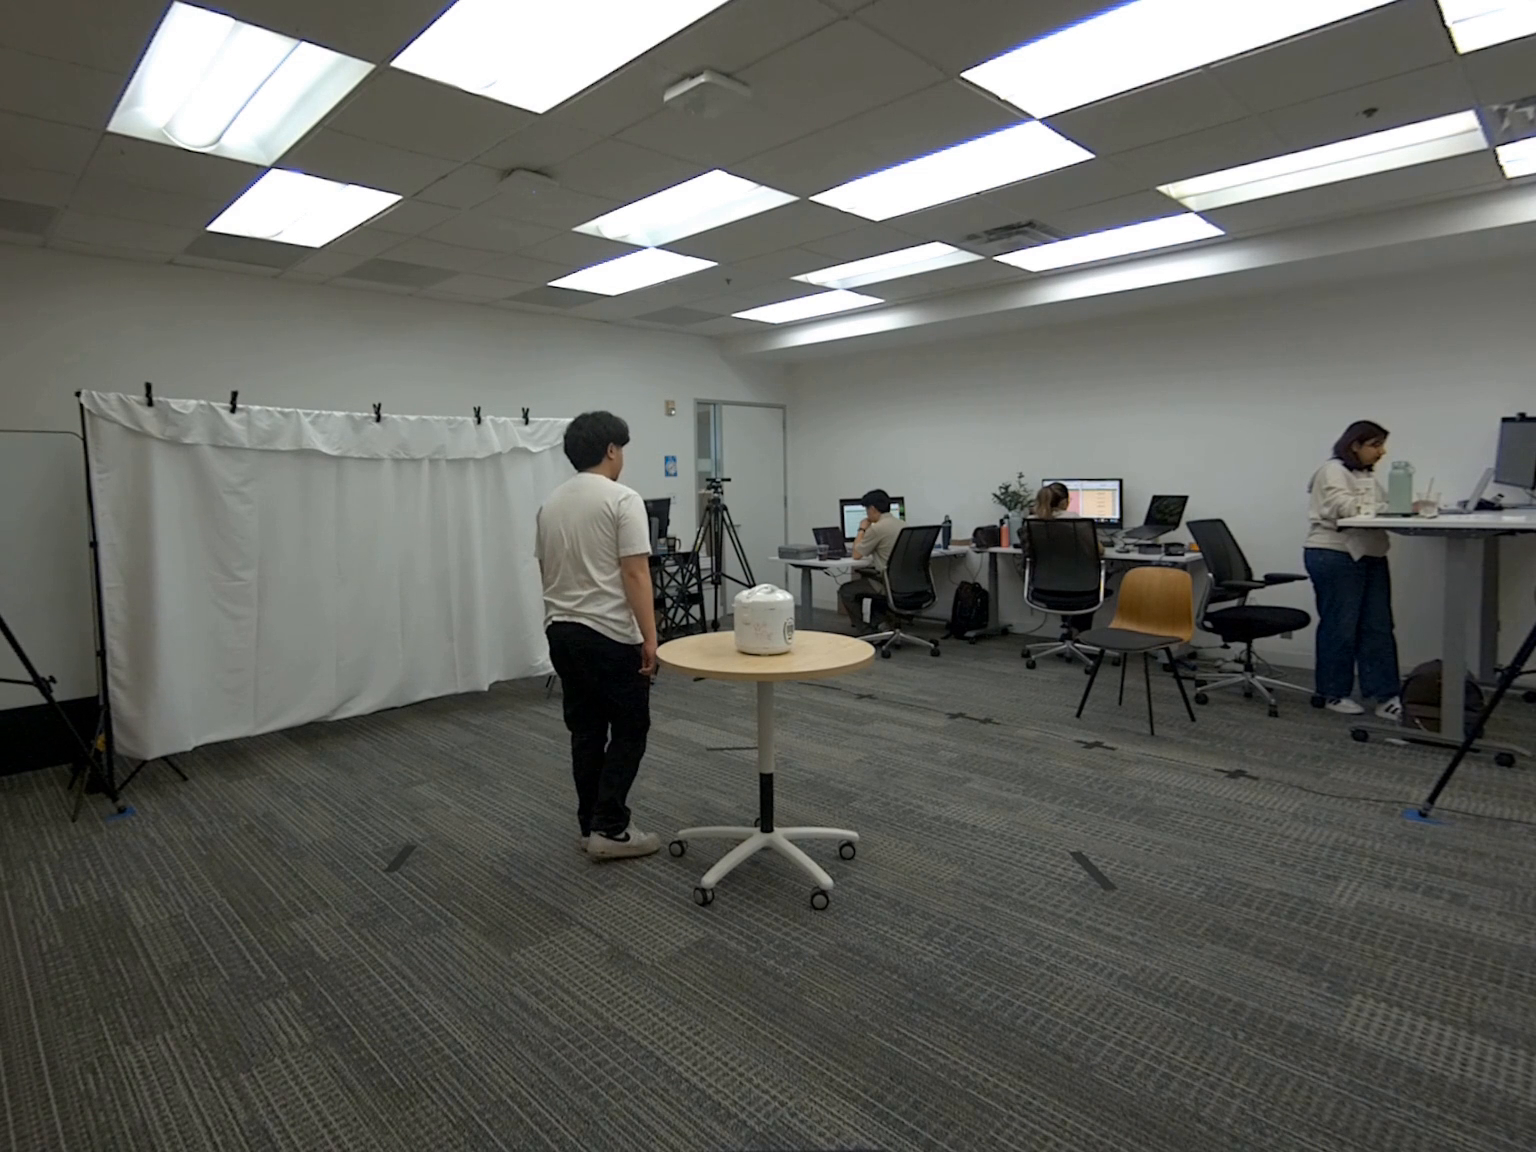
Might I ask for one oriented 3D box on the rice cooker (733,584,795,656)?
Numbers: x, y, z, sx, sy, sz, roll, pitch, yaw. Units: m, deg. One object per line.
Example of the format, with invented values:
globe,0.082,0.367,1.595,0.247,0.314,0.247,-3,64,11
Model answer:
rice cooker,-0.008,0.139,2.955,0.224,0.232,0.215,2,5,38
